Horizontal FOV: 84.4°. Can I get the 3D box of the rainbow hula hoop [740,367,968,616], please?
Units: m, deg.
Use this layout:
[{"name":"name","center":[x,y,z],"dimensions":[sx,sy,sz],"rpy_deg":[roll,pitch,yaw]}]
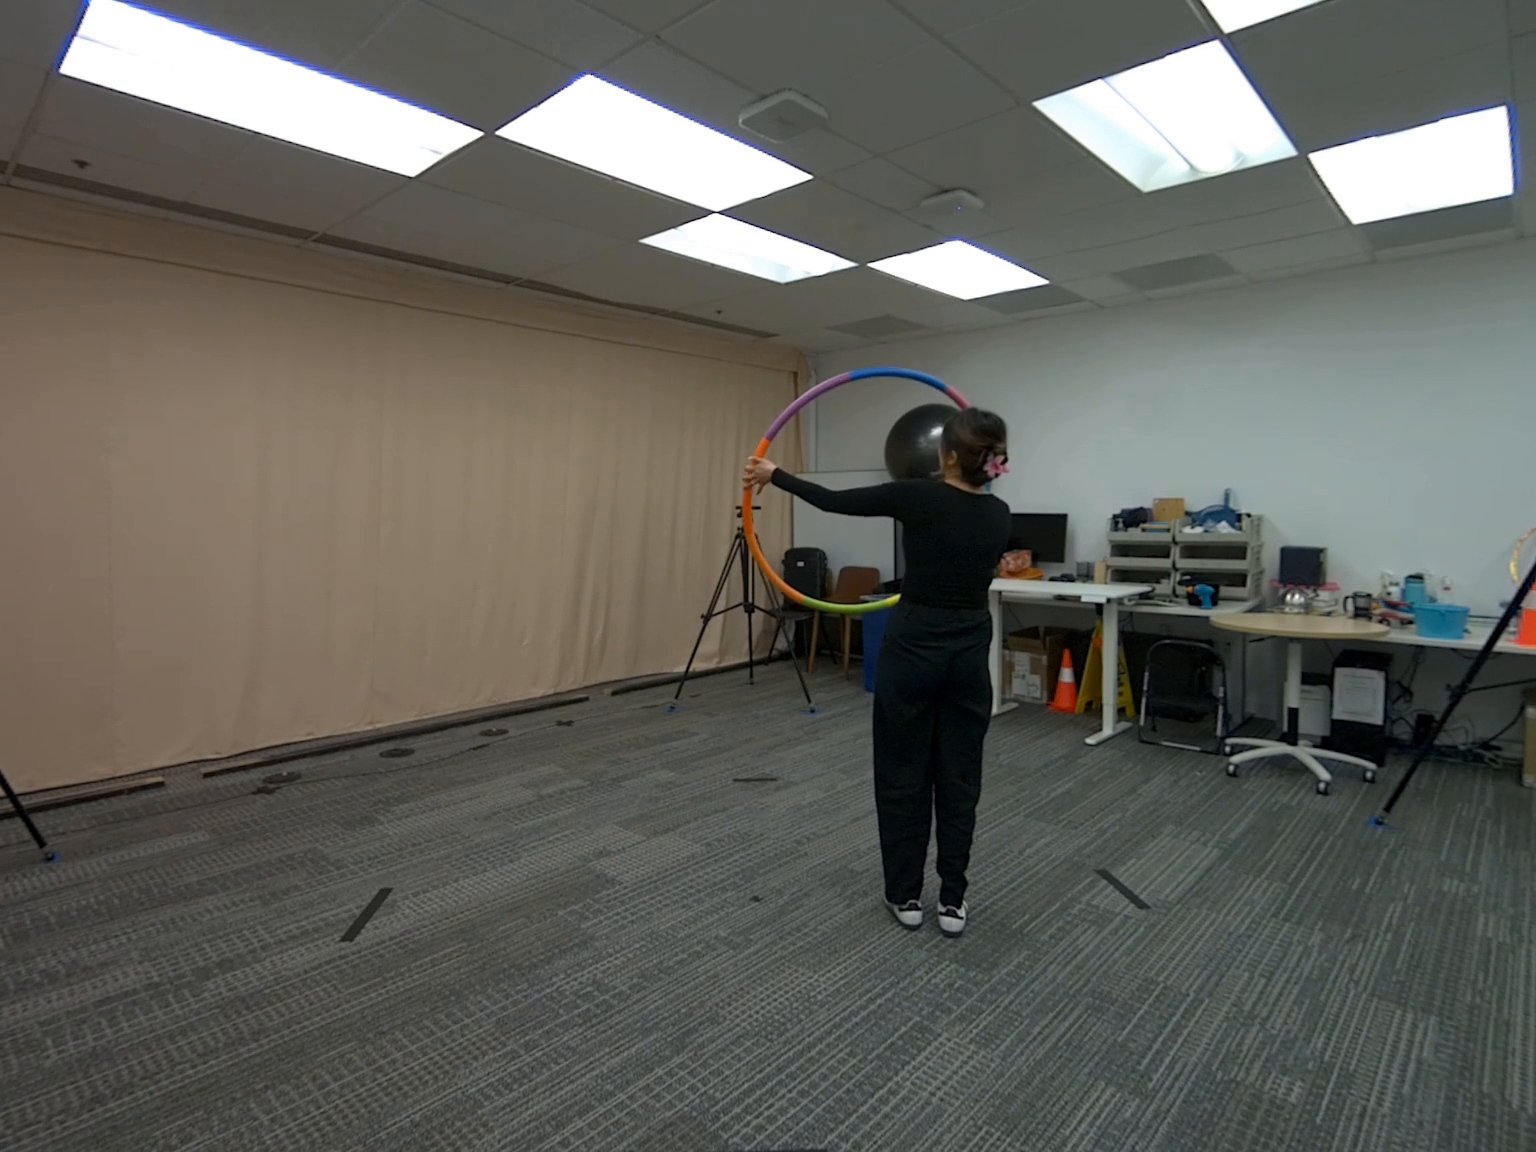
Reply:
[{"name":"rainbow hula hoop","center":[0.389,-0.295,3.194],"dimensions":[0.974,0.974,0.053],"rpy_deg":[0,22,-10]}]
